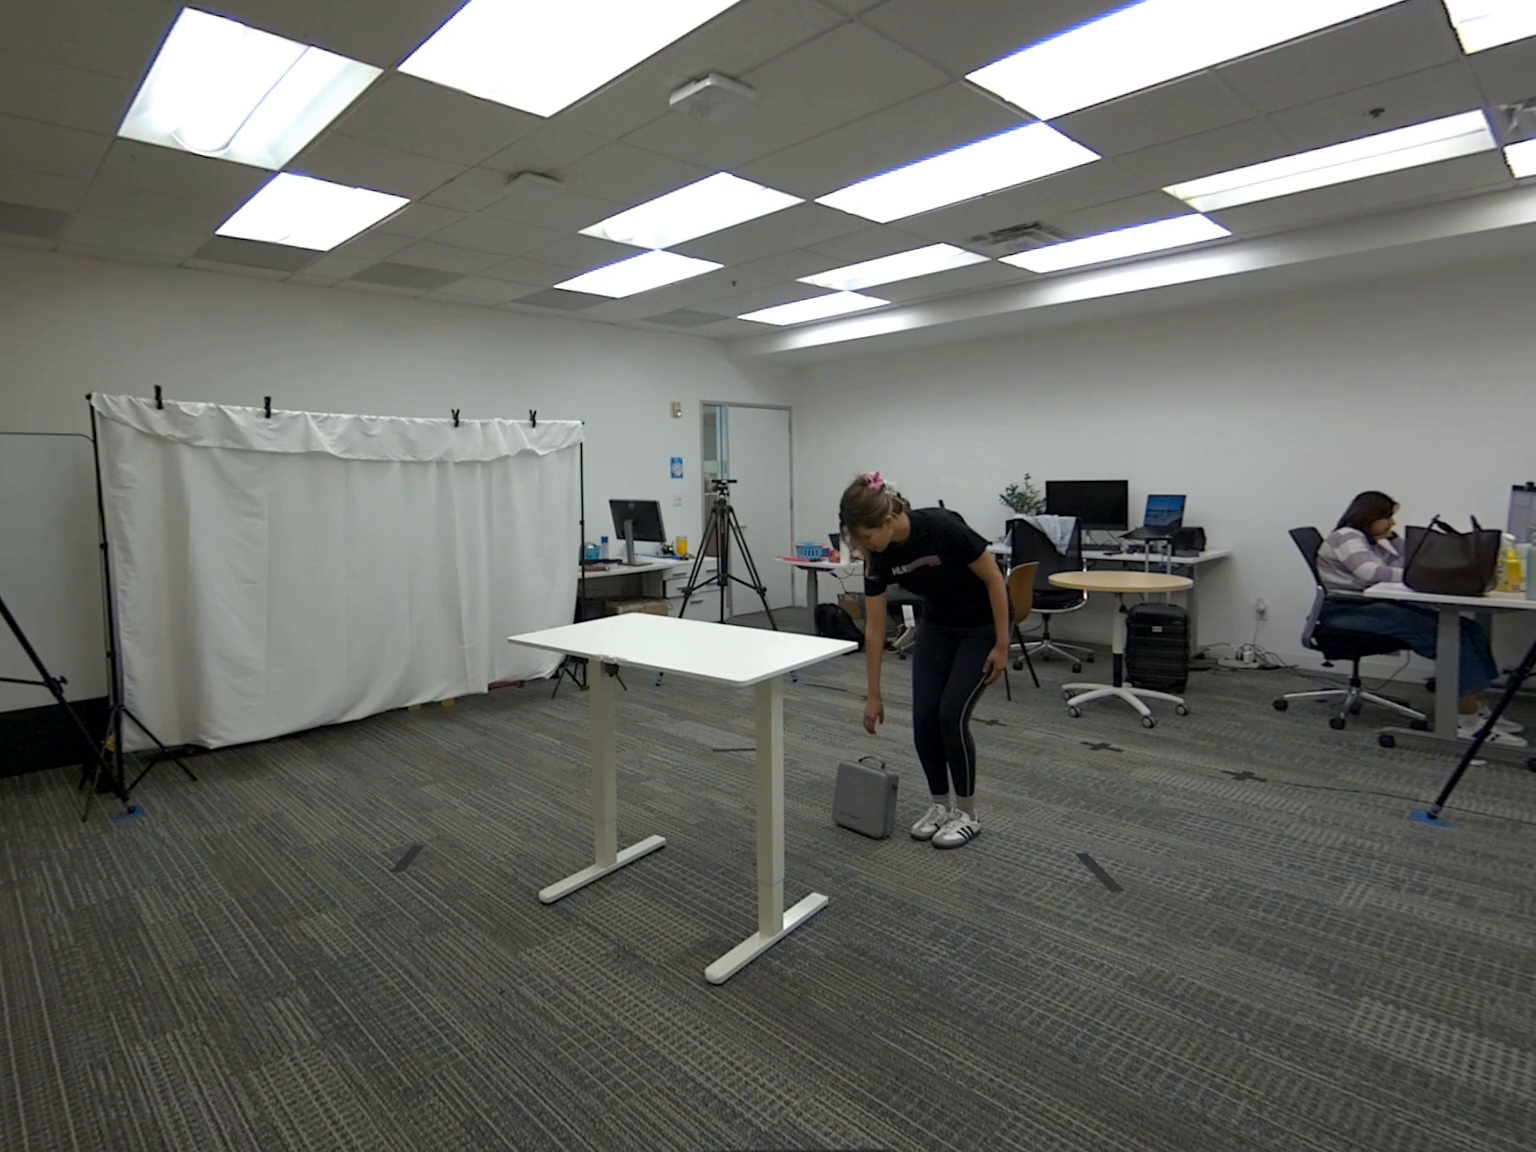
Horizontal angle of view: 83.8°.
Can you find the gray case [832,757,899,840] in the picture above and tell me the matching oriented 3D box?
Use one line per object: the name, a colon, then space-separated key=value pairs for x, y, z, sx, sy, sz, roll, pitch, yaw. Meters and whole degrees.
gray case: x=0.390 y=0.879 z=3.401 sx=0.101 sy=0.261 sz=0.265 roll=9 pitch=-2 yaw=-40
